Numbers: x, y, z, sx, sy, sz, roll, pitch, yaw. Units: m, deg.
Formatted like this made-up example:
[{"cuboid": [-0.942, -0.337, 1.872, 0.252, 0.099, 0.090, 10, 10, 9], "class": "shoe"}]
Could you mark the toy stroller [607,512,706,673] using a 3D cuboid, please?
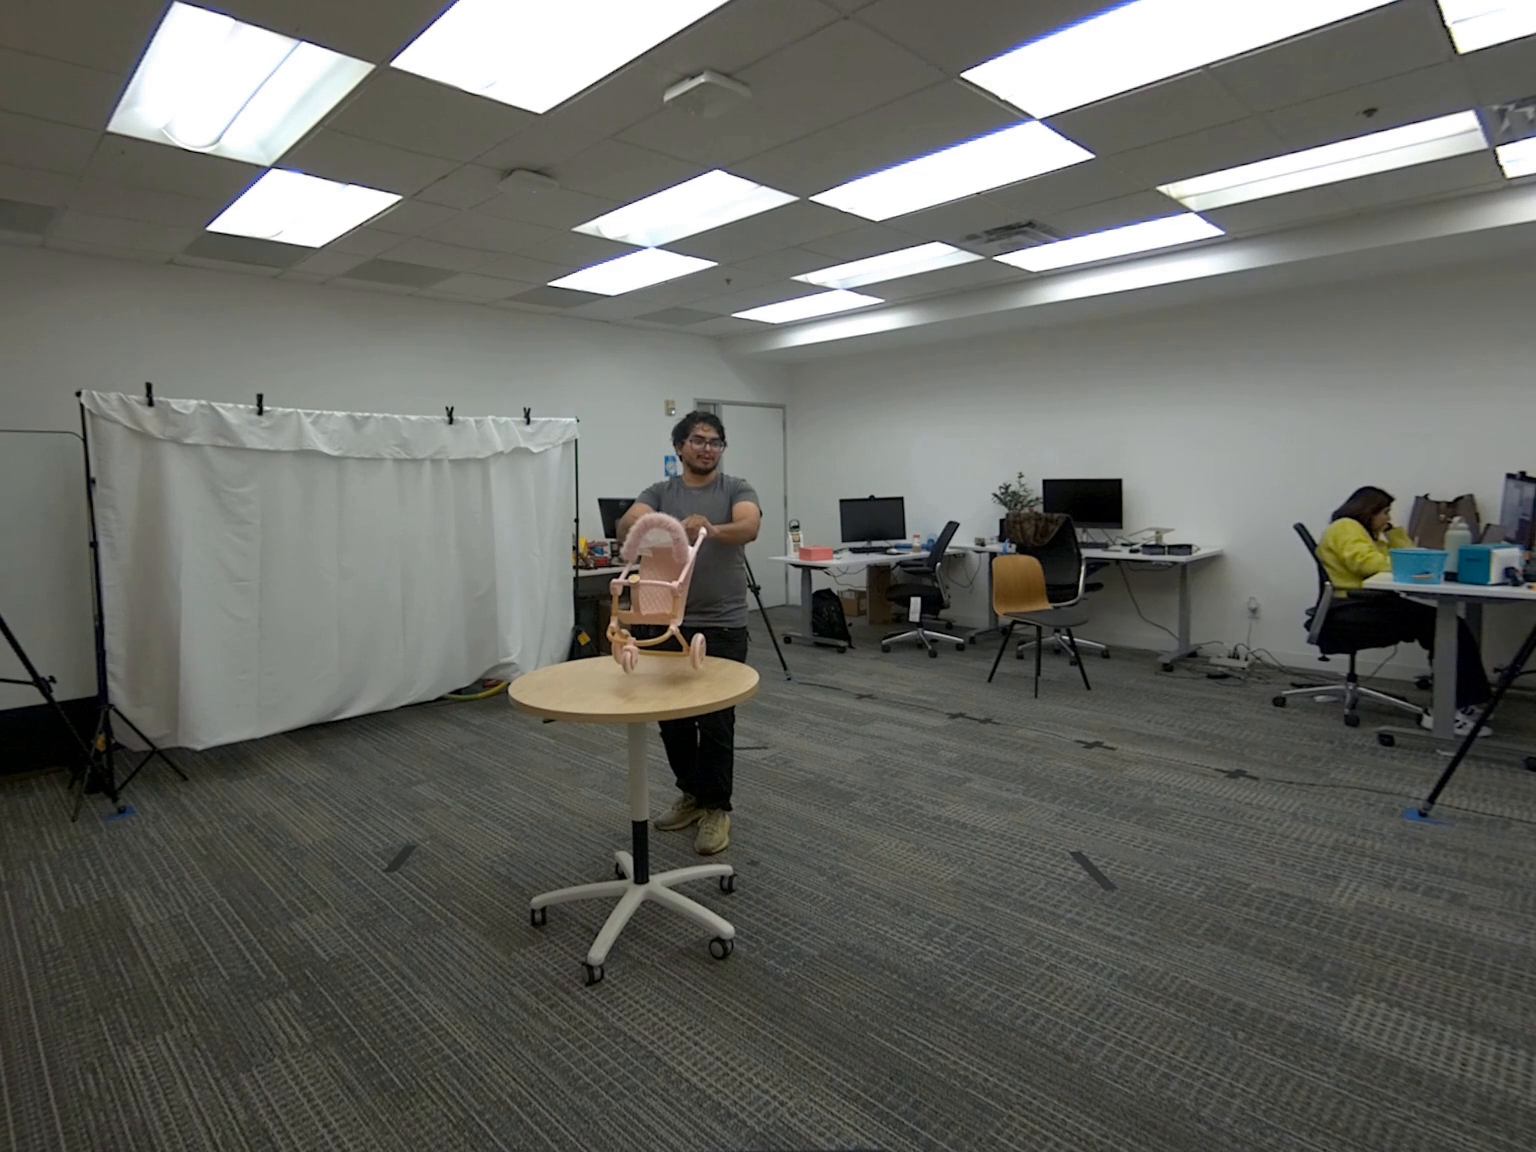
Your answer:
[{"cuboid": [-0.352, 0.054, 2.599, 0.286, 0.541, 0.331, 1, -15, 17], "class": "toy stroller"}]
